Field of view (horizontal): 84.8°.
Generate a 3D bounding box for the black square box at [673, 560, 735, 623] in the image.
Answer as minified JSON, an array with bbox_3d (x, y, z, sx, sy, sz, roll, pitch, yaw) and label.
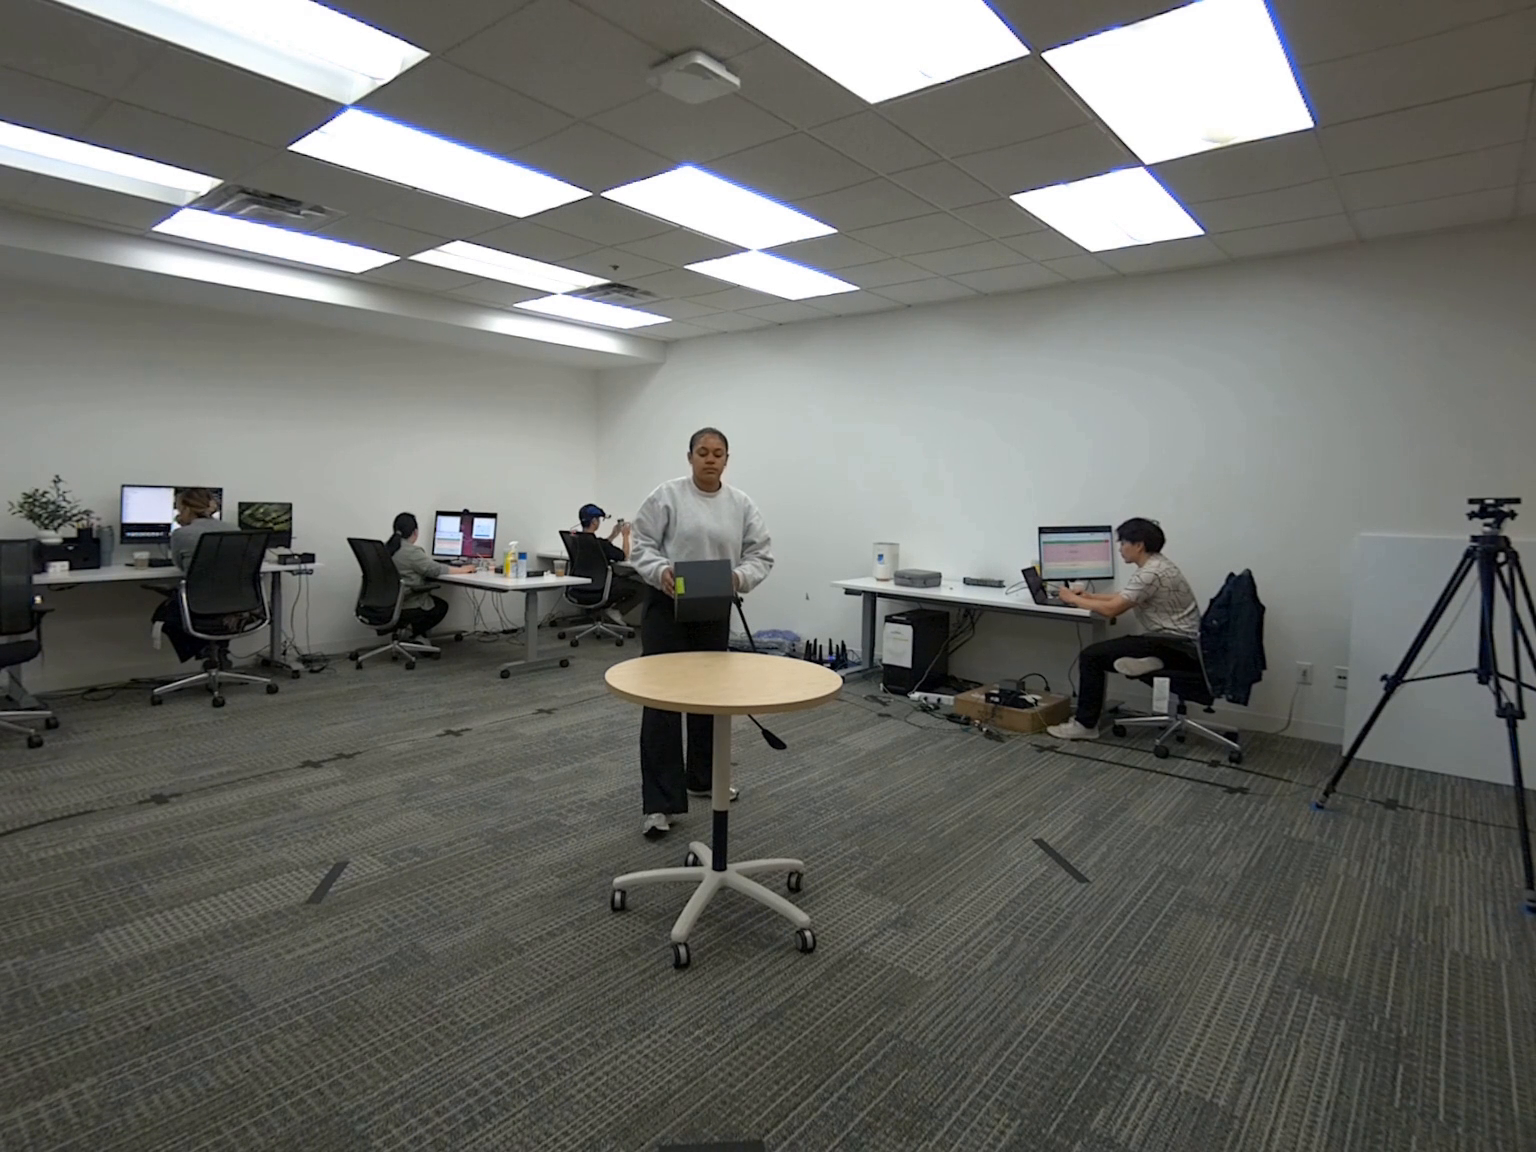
[{"bbox_3d":[-0.256,0.054,3.280,0.216,0.159,0.223,0,-25,-3],"label":"black square box"}]
